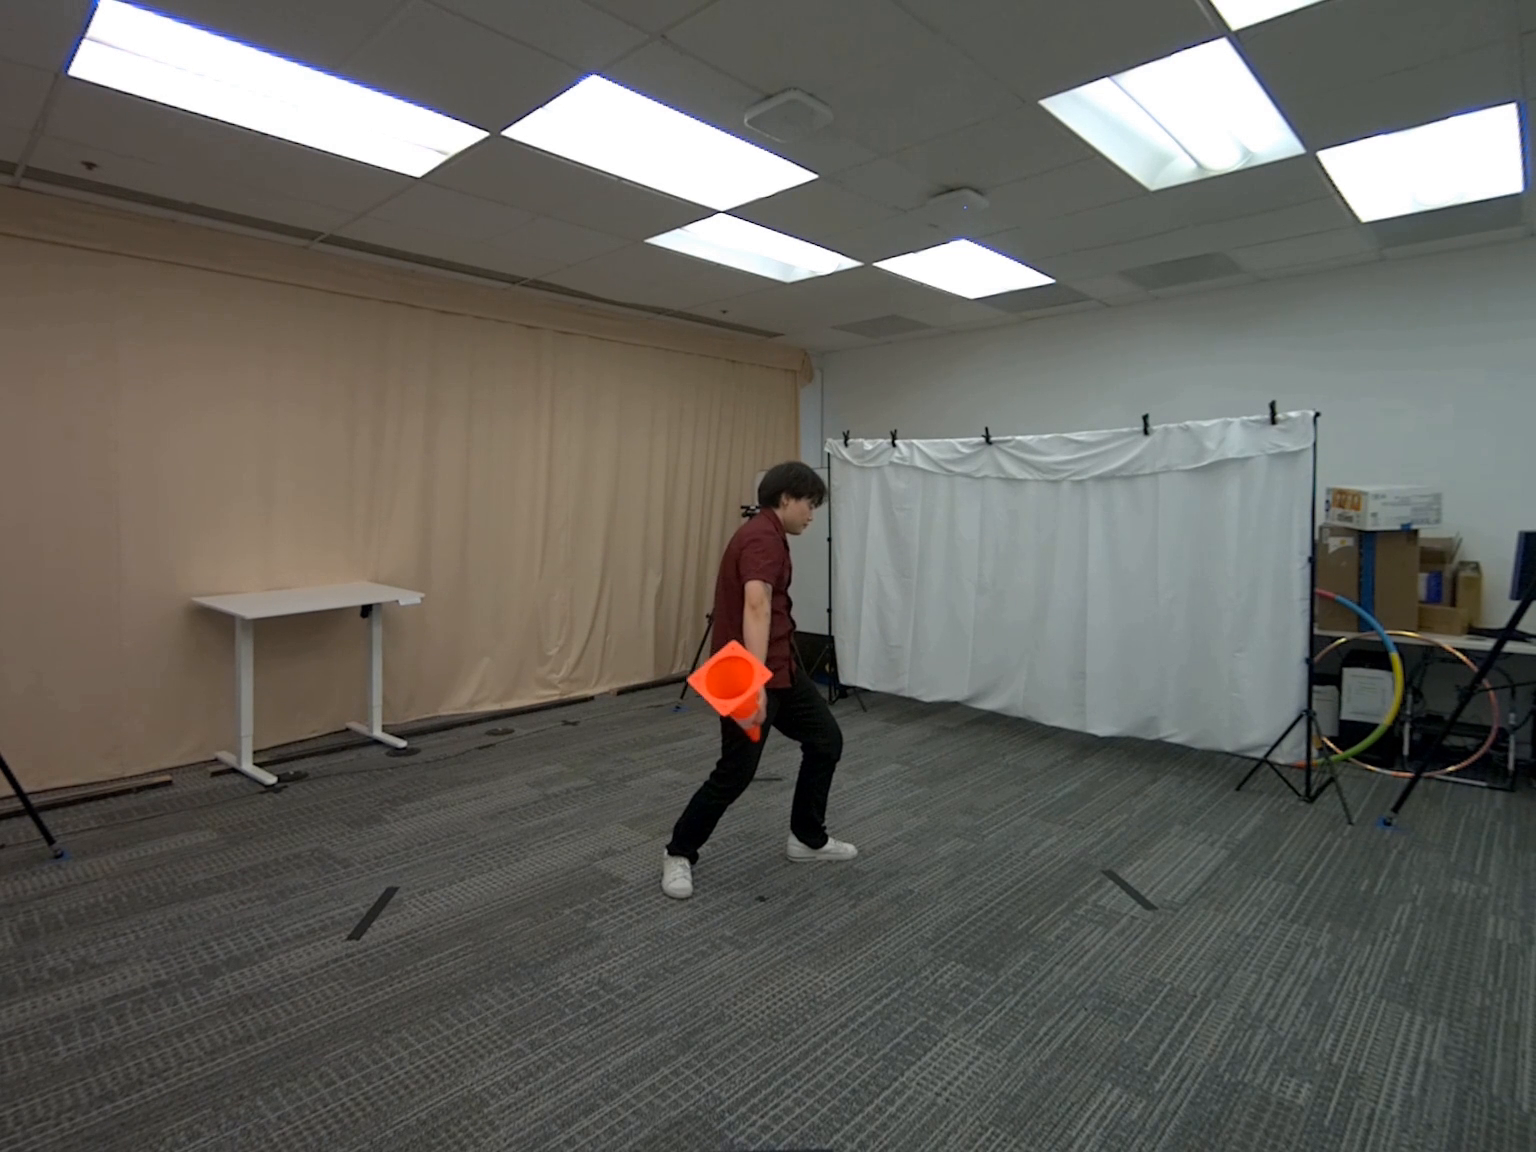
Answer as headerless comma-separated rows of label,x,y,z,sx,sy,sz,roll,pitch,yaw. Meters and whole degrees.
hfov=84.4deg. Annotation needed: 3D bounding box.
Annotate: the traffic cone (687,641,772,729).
traffic cone,-0.074,0.430,2.718,0.202,0.373,0.212,-36,50,-15
